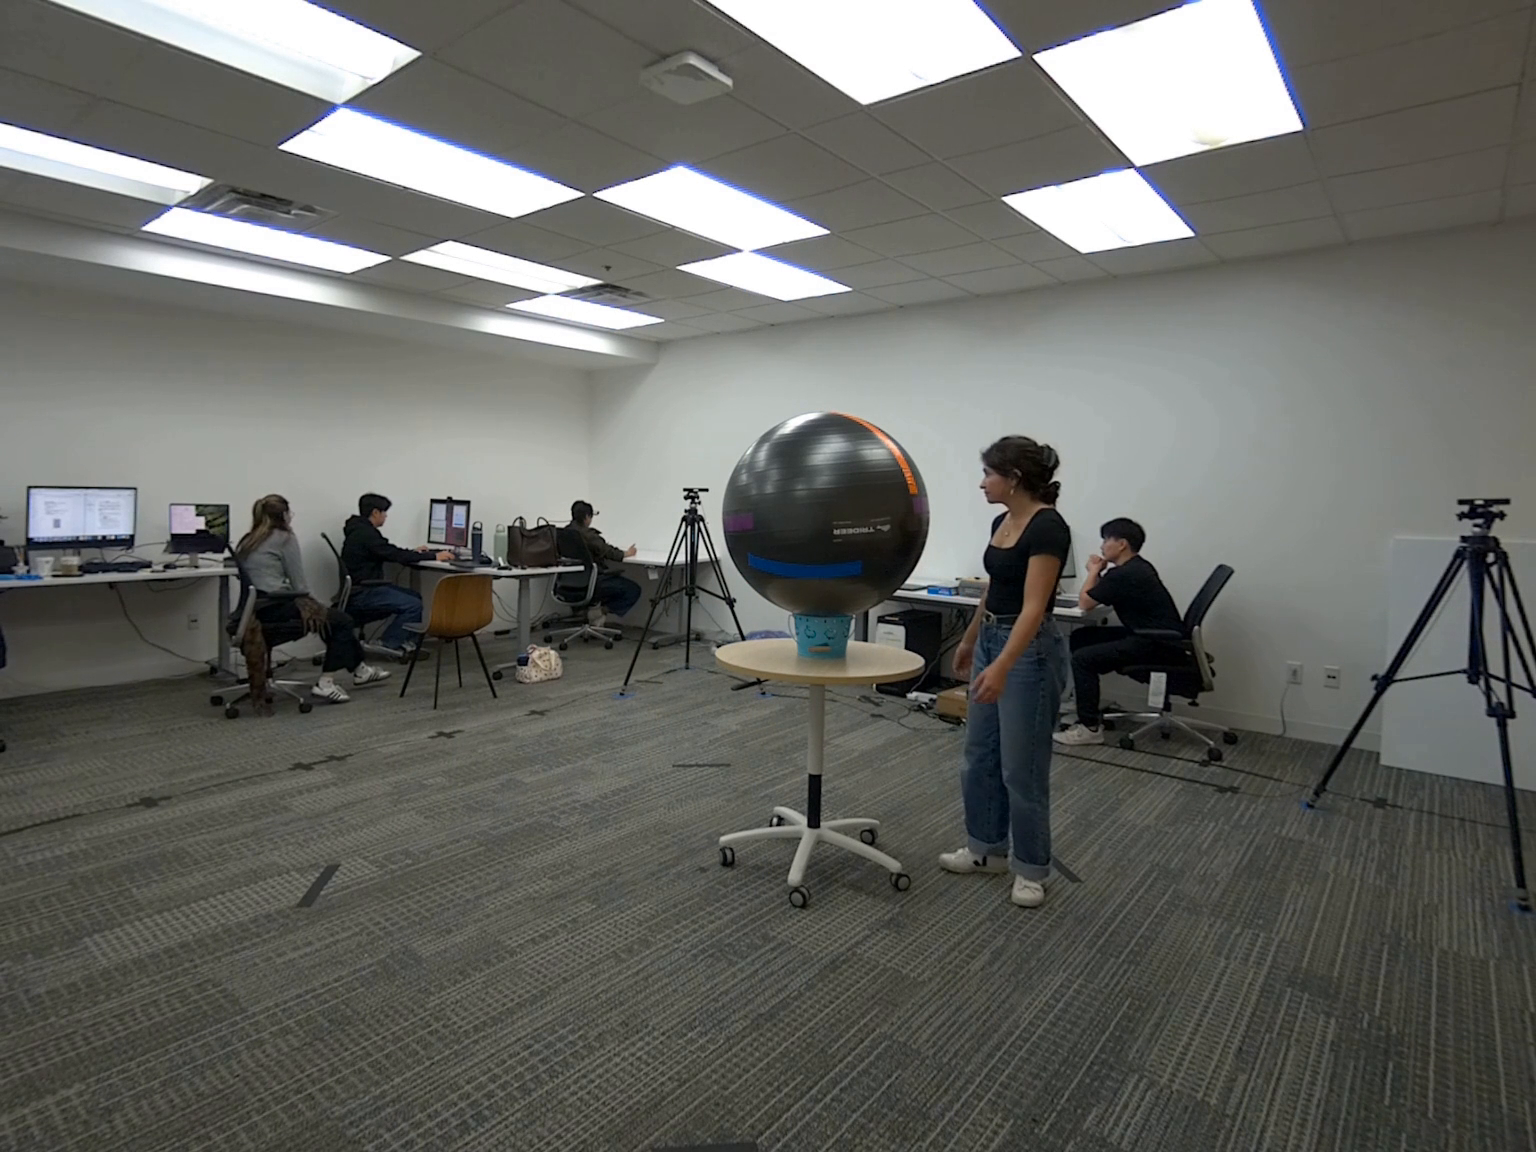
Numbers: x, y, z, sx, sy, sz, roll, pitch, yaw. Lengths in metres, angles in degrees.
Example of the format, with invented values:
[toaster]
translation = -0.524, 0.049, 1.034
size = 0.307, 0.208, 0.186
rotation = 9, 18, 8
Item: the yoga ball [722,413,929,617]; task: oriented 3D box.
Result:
[yoga ball]
translation = 0.218, -0.221, 3.156
size = 0.757, 0.755, 0.762
rotation = 1, 4, -2
